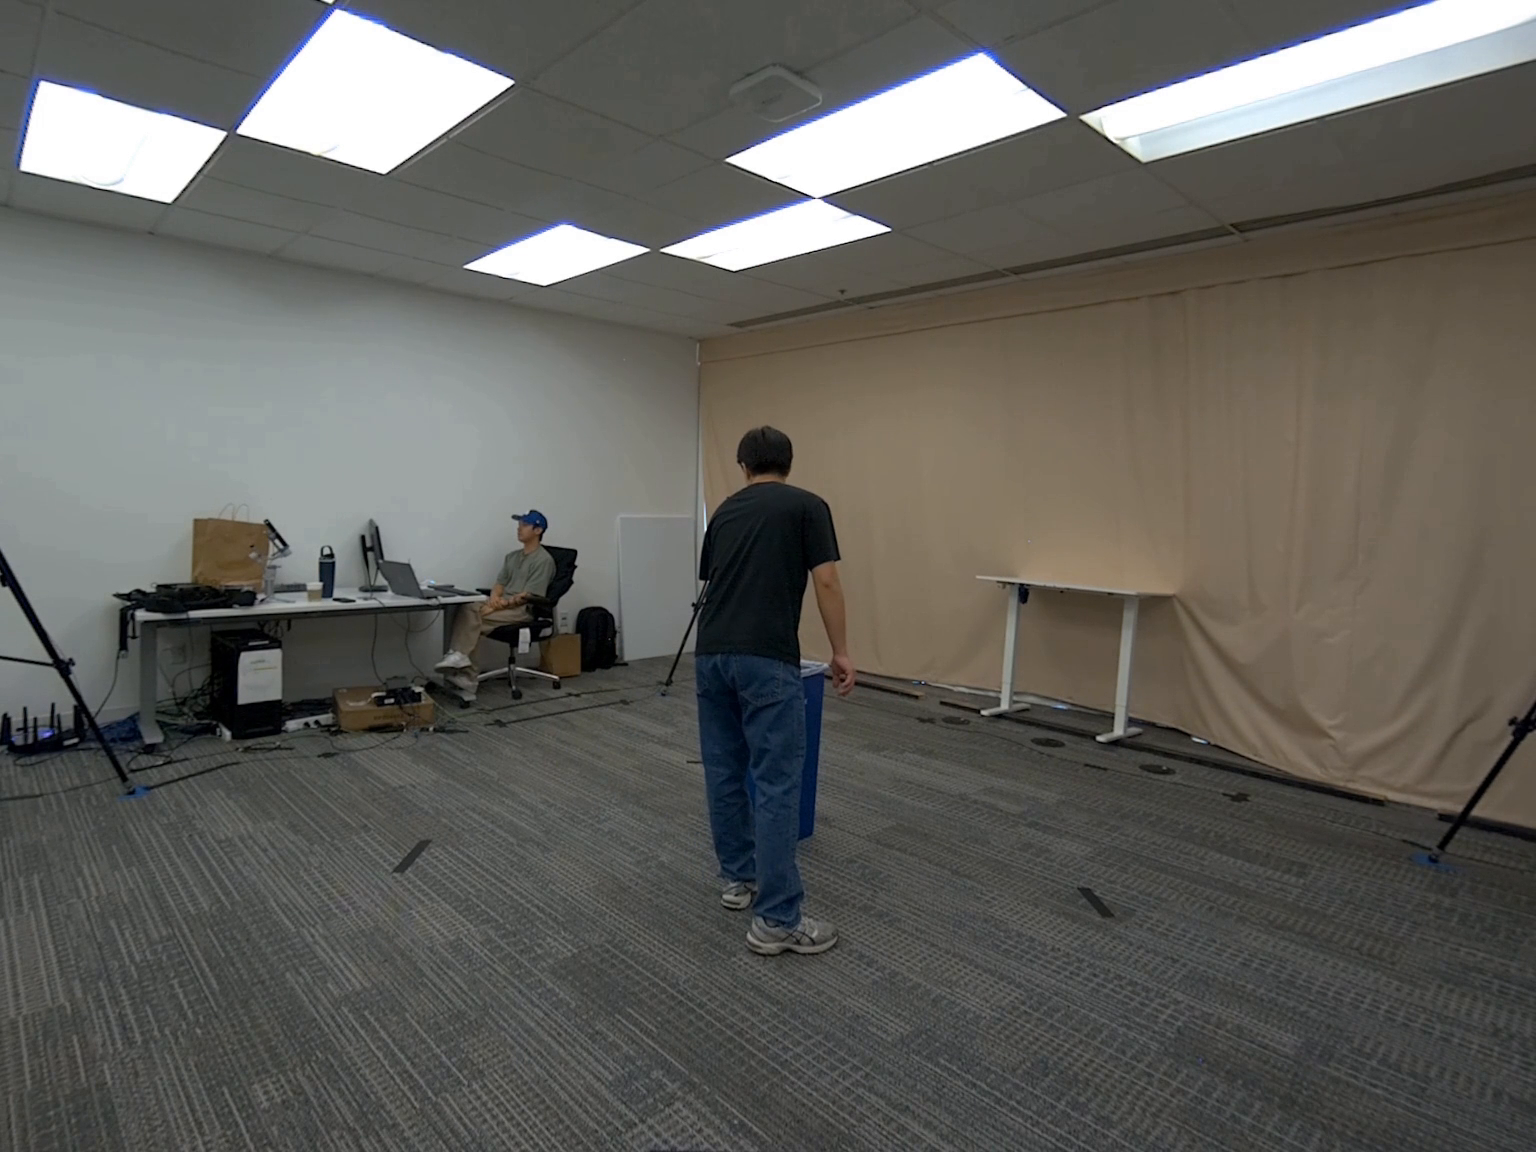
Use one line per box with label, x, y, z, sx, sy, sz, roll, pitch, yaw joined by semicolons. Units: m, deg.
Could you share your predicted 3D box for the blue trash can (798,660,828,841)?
blue trash can;-0.003;0.722;3.509;0.388;0.712;0.365;5;5;41
